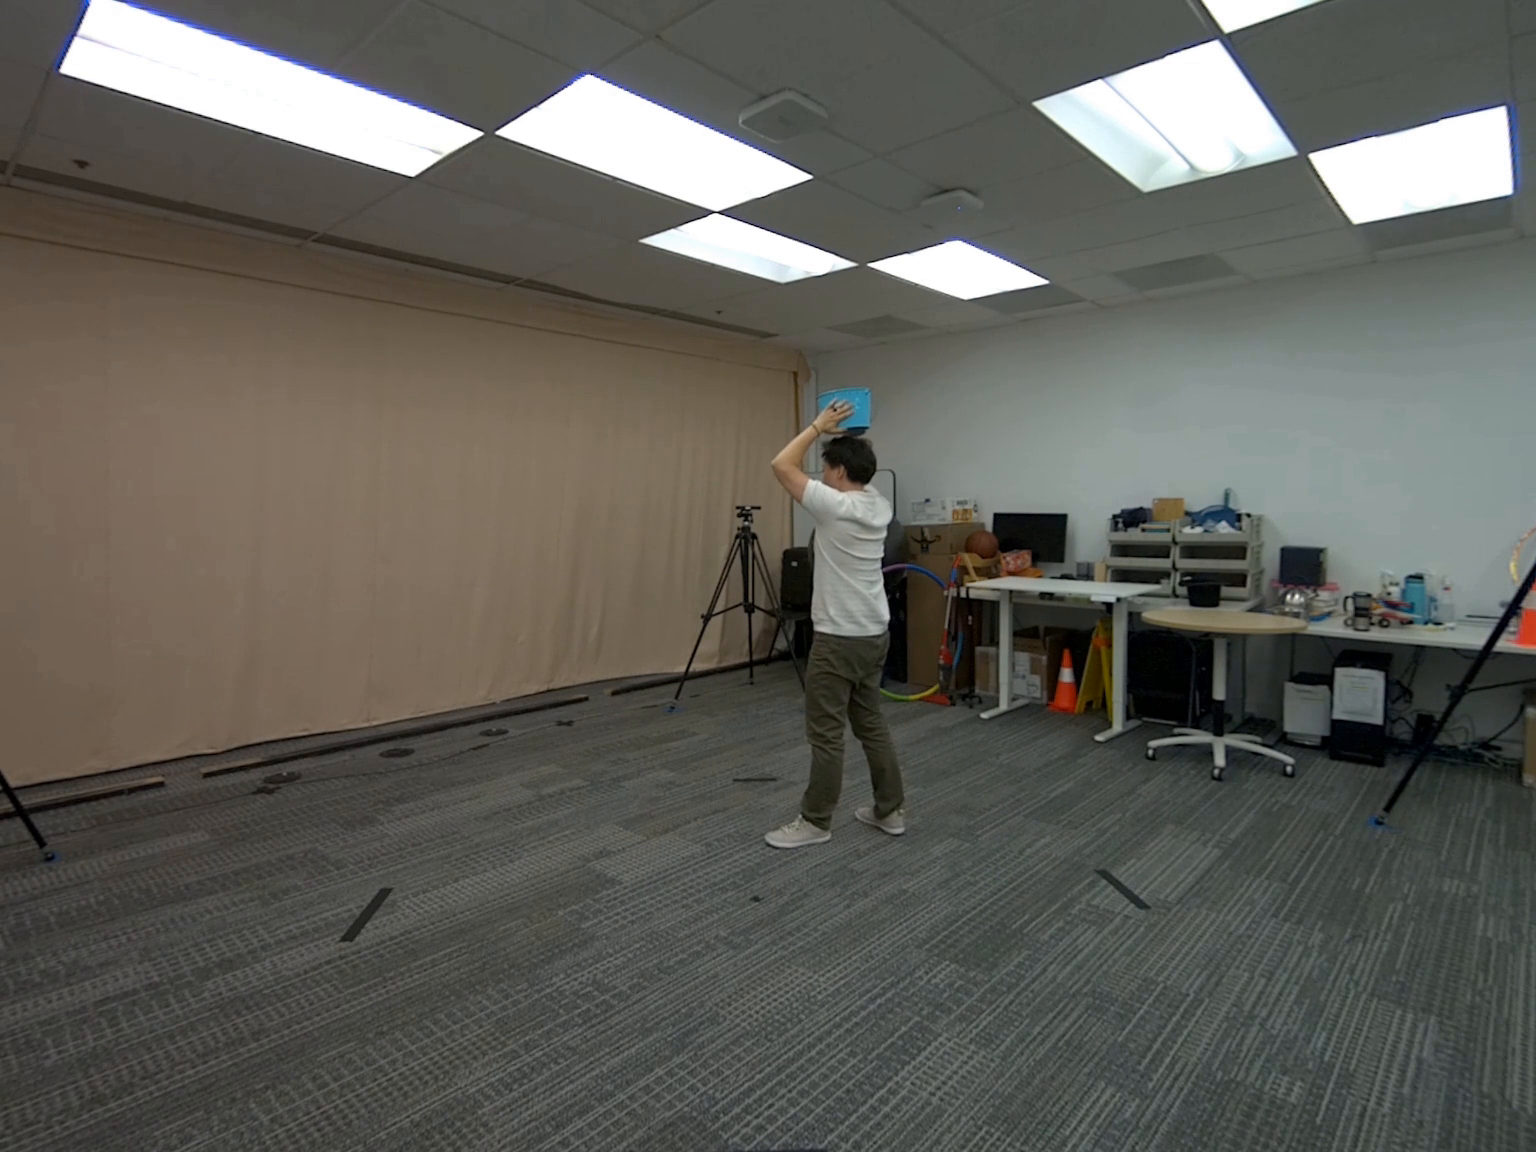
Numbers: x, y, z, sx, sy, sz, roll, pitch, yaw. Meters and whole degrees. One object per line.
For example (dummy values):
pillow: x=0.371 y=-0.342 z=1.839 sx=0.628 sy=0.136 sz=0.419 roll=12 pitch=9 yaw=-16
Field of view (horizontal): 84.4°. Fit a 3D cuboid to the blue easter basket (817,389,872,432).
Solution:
blue easter basket: x=0.338 y=-0.683 z=3.524 sx=0.243 sy=0.156 sz=0.244 roll=-4 pitch=0 yaw=-2
